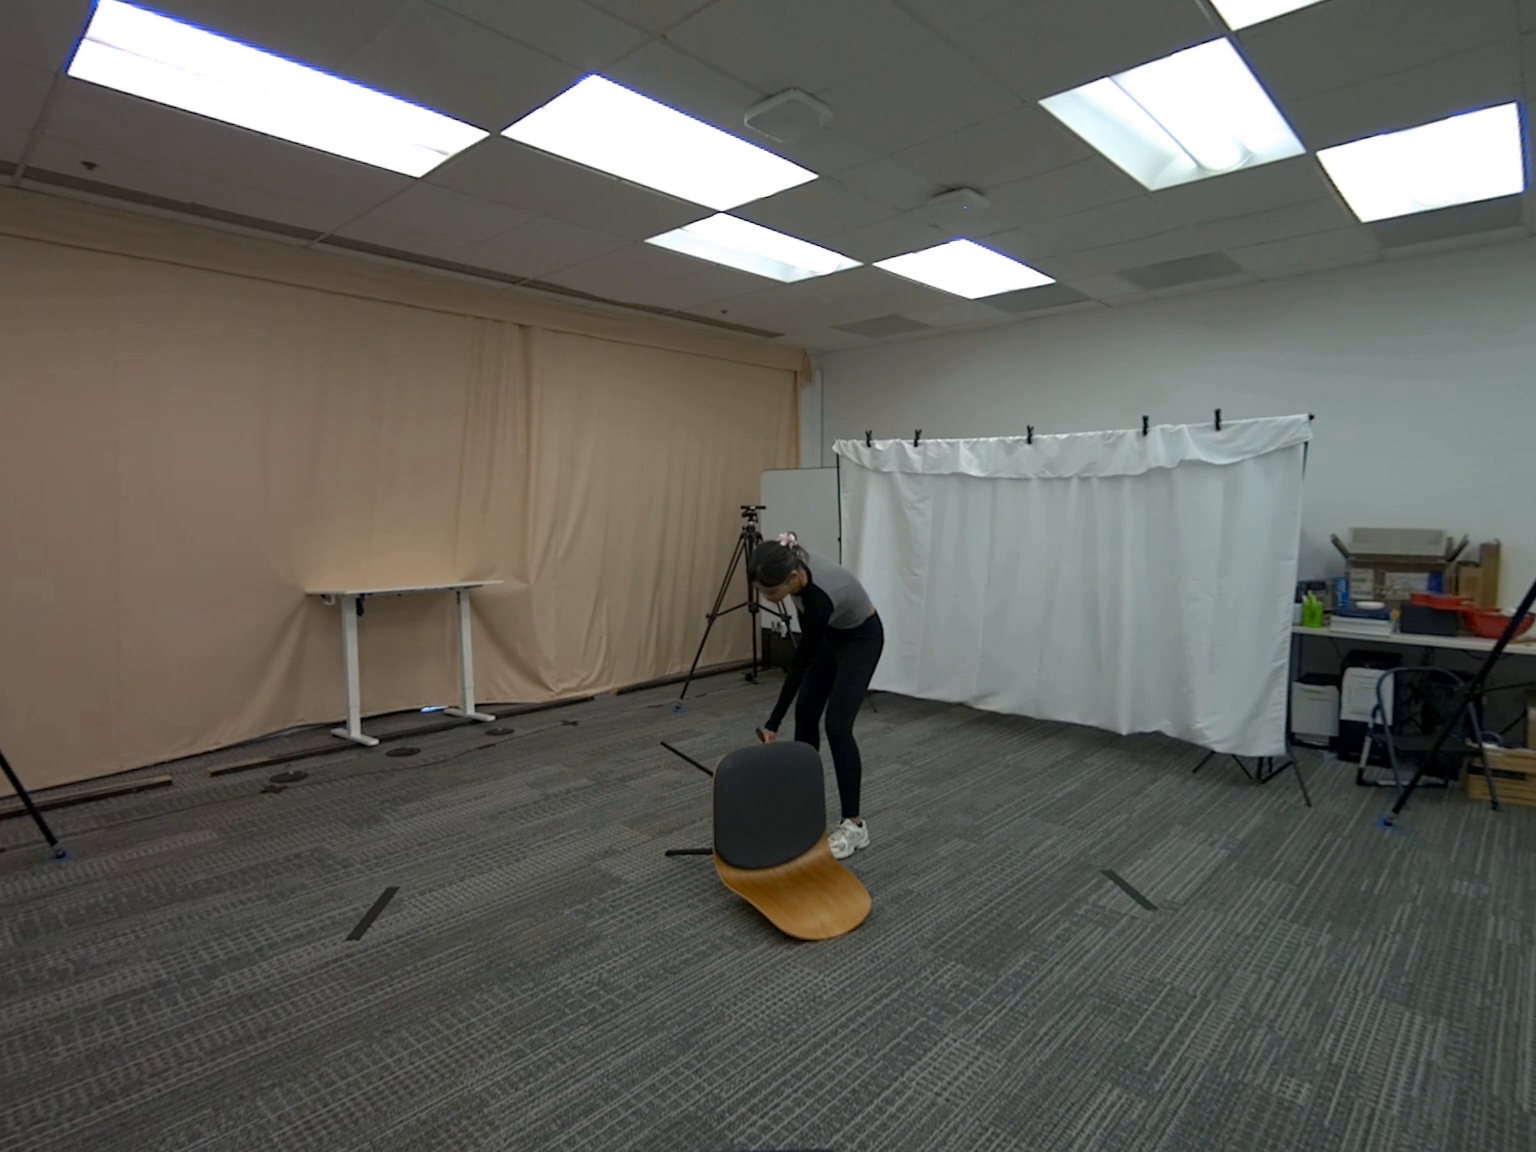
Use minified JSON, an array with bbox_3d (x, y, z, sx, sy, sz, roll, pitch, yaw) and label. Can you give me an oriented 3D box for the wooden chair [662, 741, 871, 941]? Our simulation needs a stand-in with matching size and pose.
[{"bbox_3d":[-0.009,0.872,3.086,0.466,0.521,0.903,-2,6,-29],"label":"wooden chair"}]
